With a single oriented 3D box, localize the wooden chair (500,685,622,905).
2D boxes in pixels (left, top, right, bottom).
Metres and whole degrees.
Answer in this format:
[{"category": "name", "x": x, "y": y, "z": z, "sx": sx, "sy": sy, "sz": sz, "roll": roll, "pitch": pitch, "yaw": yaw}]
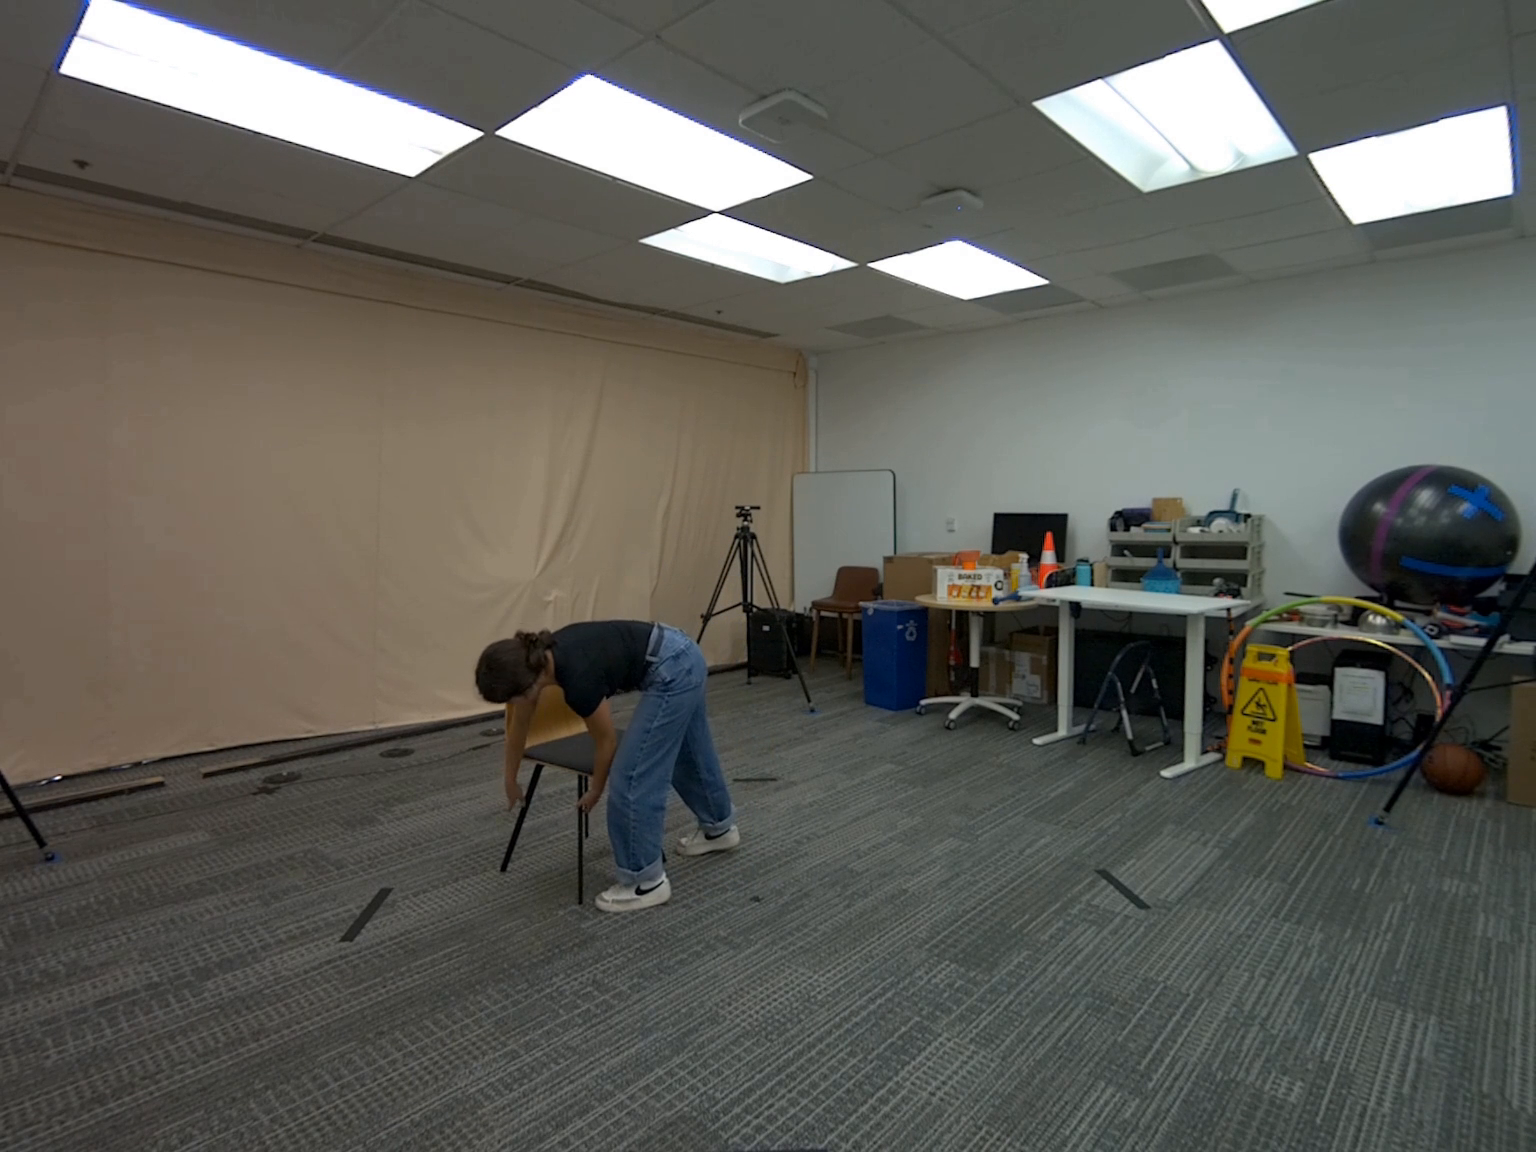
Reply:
[{"category": "wooden chair", "x": -0.710, "y": 0.701, "z": 3.229, "sx": 0.539, "sy": 0.877, "sz": 0.464, "roll": -4, "pitch": 0, "yaw": 36}]
